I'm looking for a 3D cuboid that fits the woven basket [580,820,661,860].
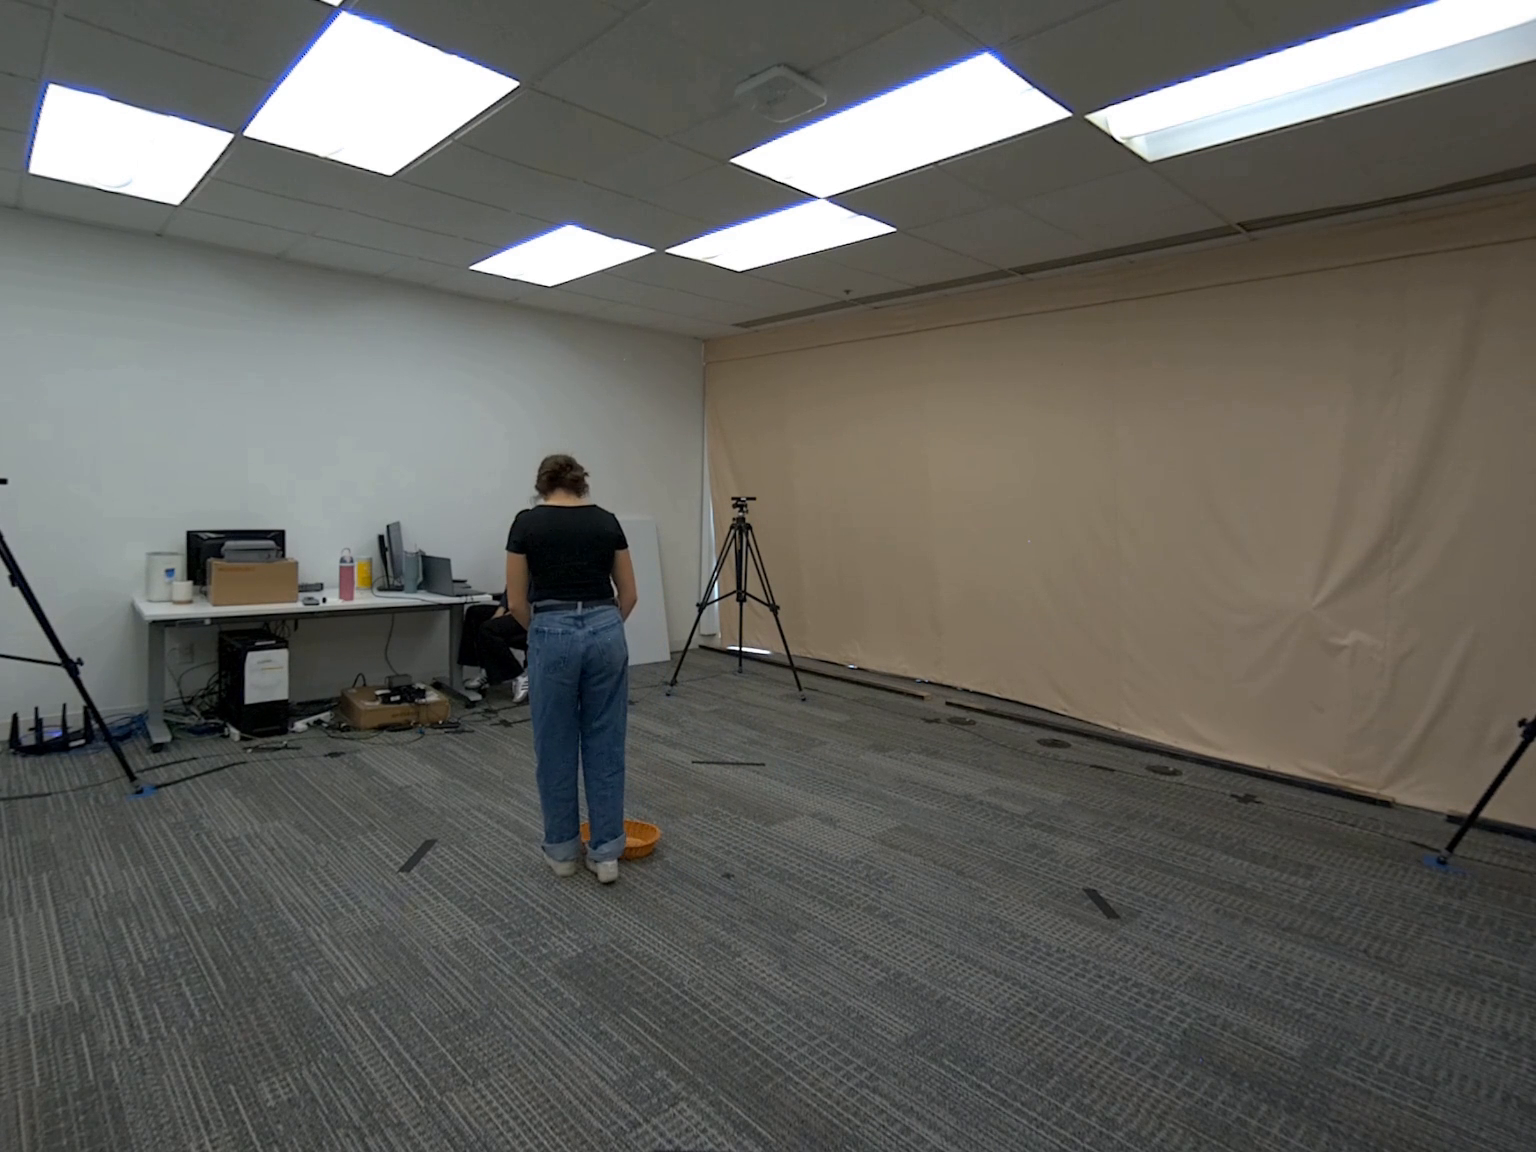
[{"bbox_3d":[-0.599,1.038,3.312,0.354,0.073,0.250,3,6,14],"label":"woven basket"}]
